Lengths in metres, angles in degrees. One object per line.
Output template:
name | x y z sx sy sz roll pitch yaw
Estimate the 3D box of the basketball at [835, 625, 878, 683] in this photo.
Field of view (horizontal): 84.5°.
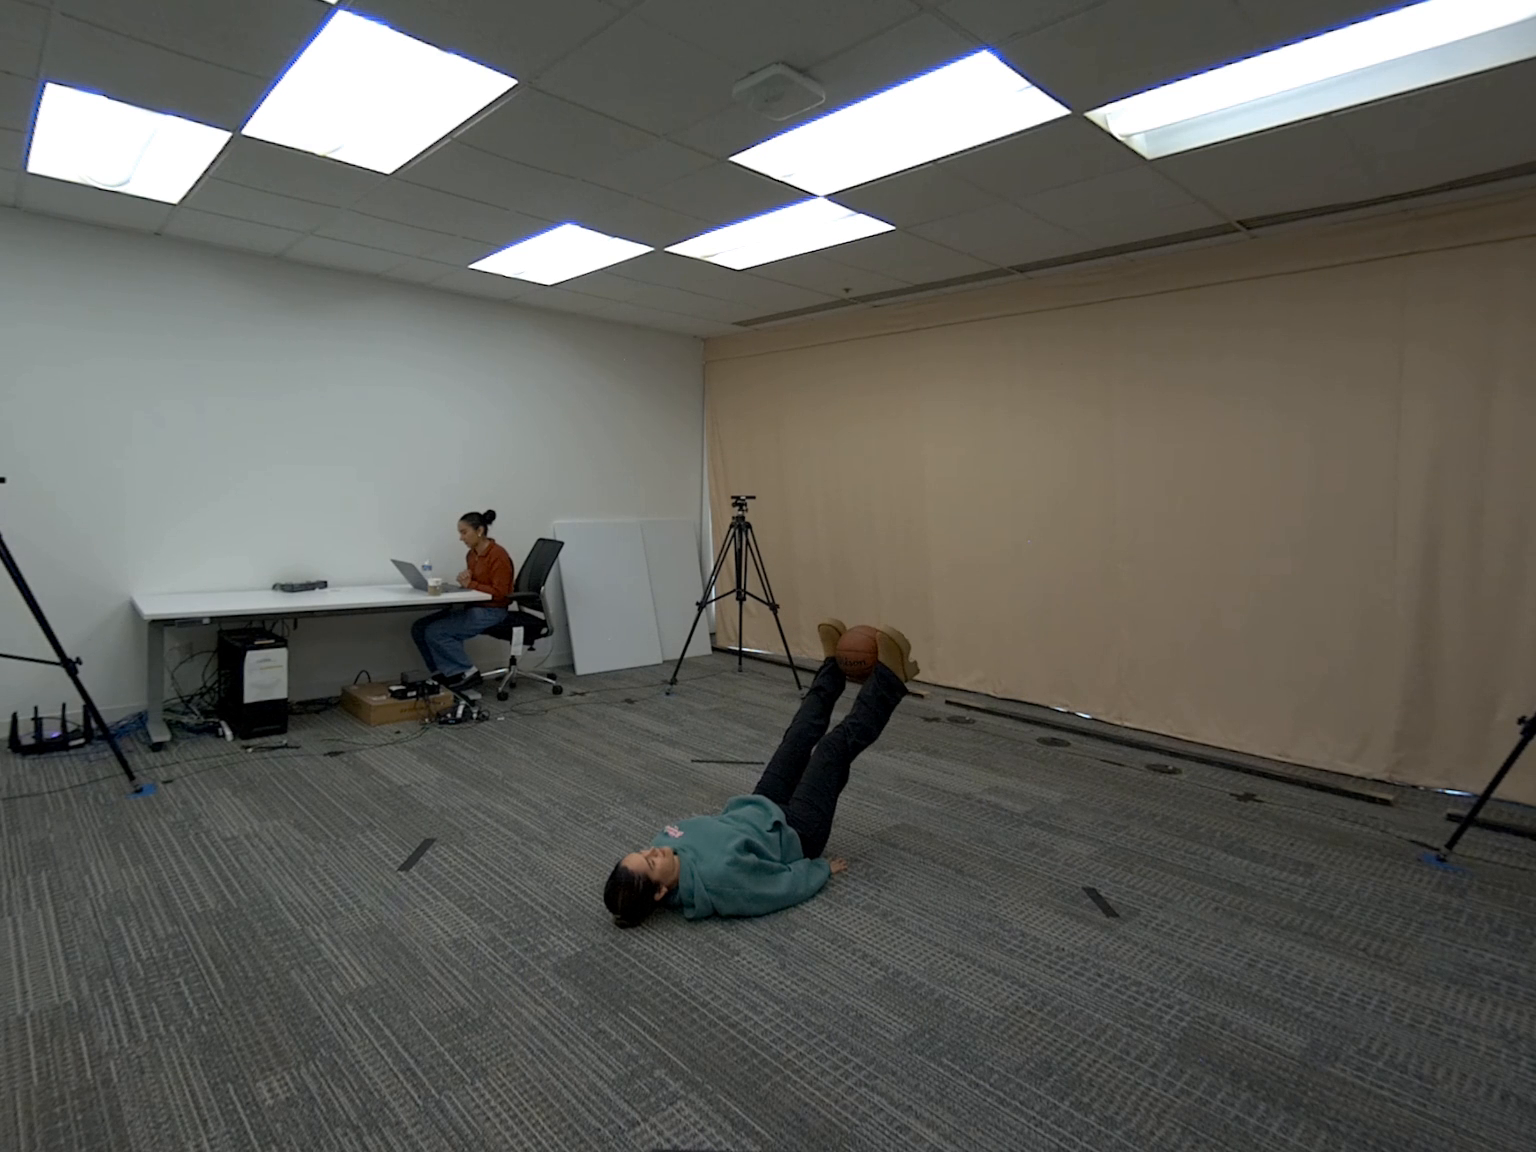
basketball | 0.399 0.329 3.553 0.236 0.235 0.237 1 5 -1
